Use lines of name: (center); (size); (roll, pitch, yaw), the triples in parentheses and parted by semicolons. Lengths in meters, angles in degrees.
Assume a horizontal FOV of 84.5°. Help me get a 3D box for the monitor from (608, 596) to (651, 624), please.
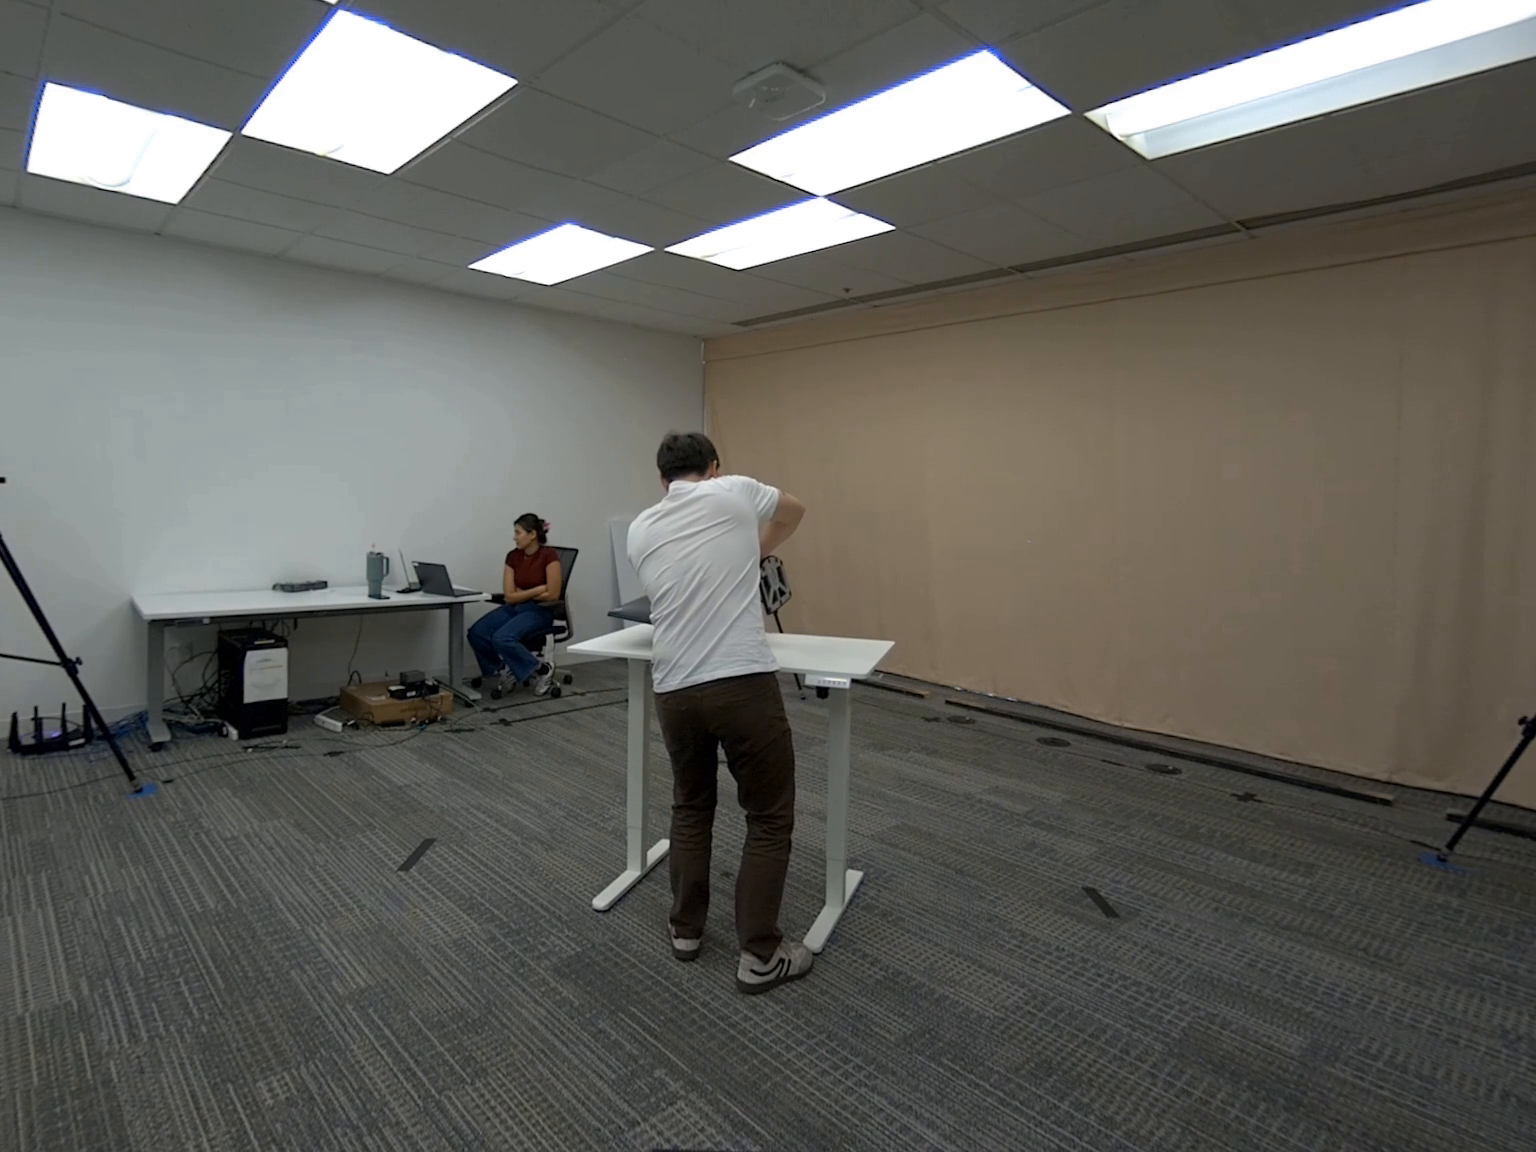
monitor: (-0.214, 0.071, 2.967); (0.529, 0.186, 0.533); (-9, 4, 20)
